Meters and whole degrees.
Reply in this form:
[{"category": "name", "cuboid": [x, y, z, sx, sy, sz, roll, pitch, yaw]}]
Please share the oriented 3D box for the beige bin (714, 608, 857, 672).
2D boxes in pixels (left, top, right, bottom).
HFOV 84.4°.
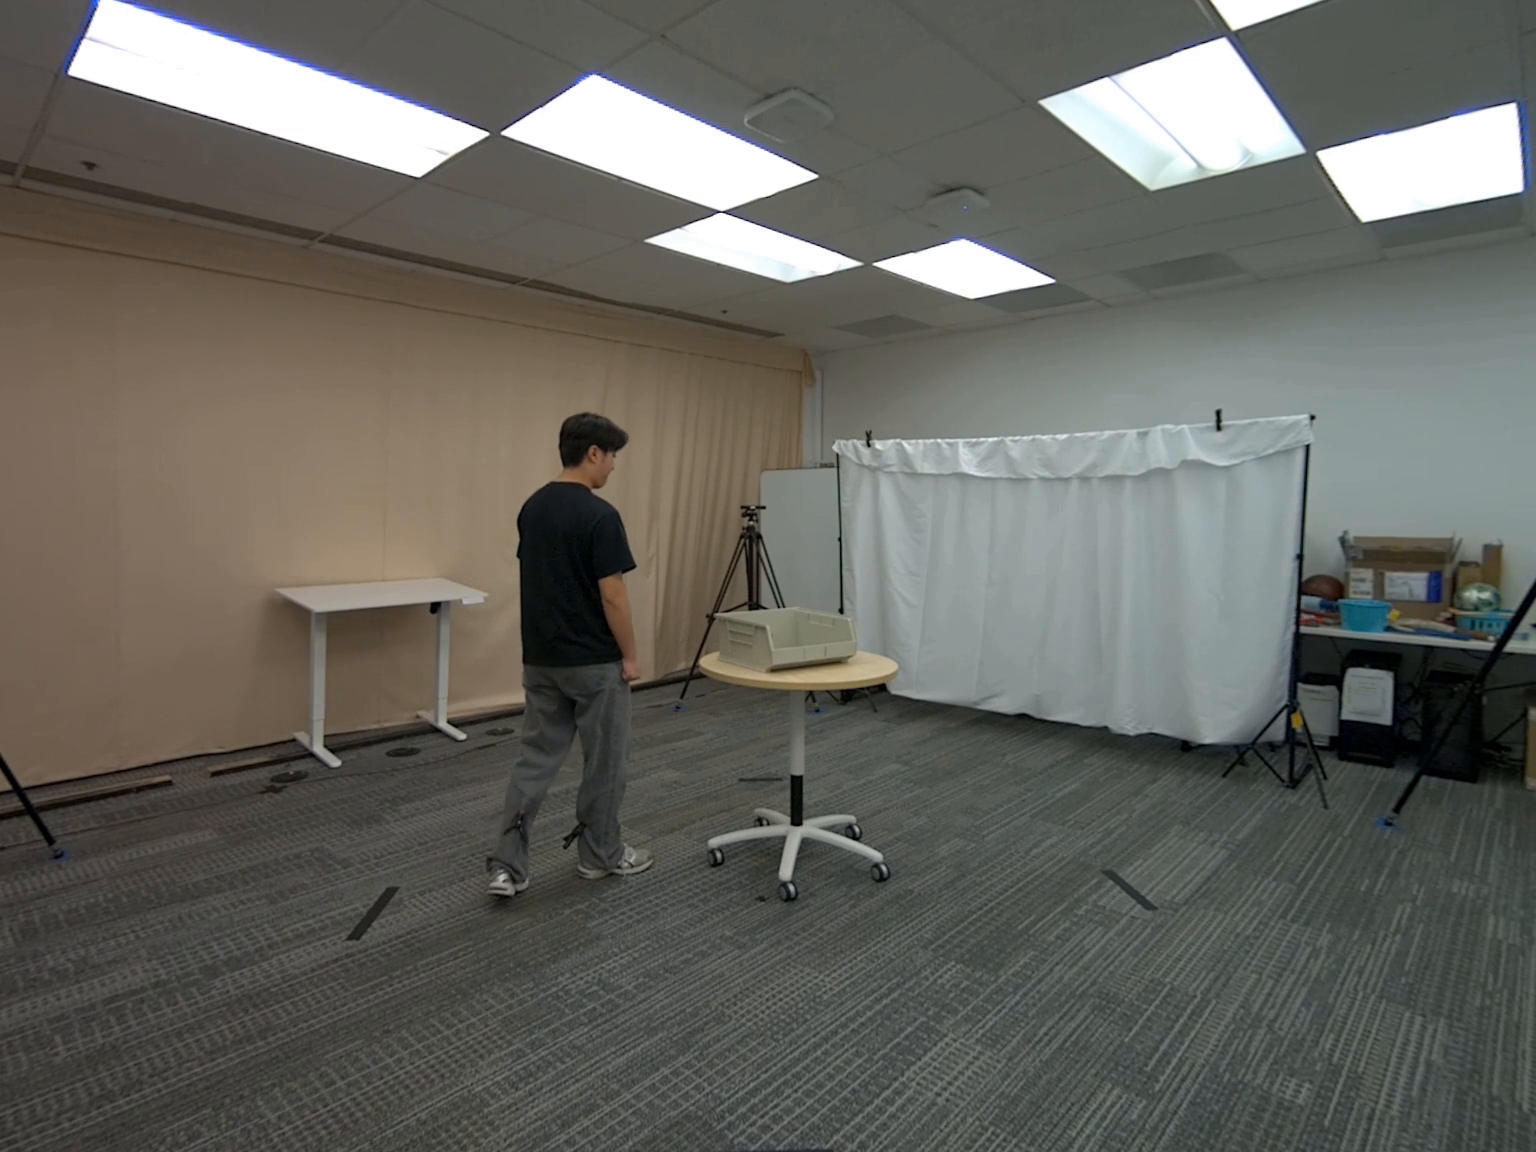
[{"category": "beige bin", "cuboid": [0.073, 0.247, 3.278, 0.410, 0.188, 0.389, -3, 4, -36]}]
